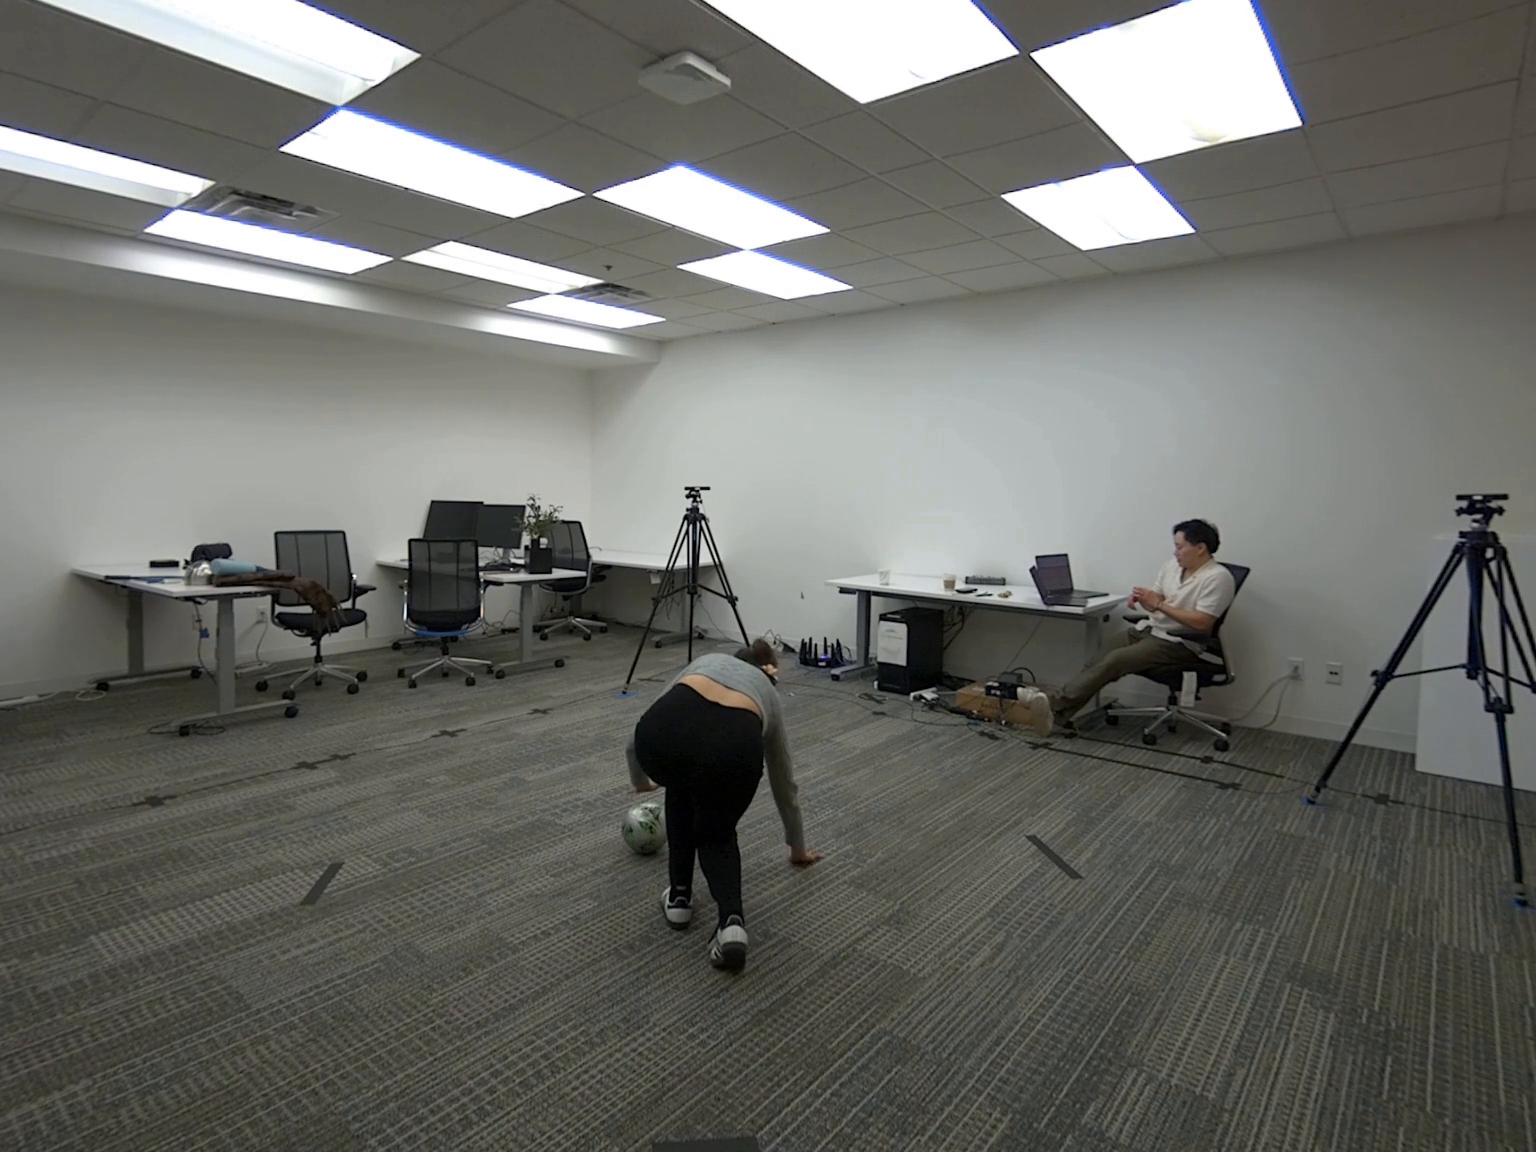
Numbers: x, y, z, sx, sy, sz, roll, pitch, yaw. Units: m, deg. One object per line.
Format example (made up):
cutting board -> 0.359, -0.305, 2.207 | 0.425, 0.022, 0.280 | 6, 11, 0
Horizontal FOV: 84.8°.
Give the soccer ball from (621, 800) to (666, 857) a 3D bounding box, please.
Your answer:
soccer ball -> -0.474, 0.955, 3.238 | 0.187, 0.187, 0.188 | 1, 4, -2
